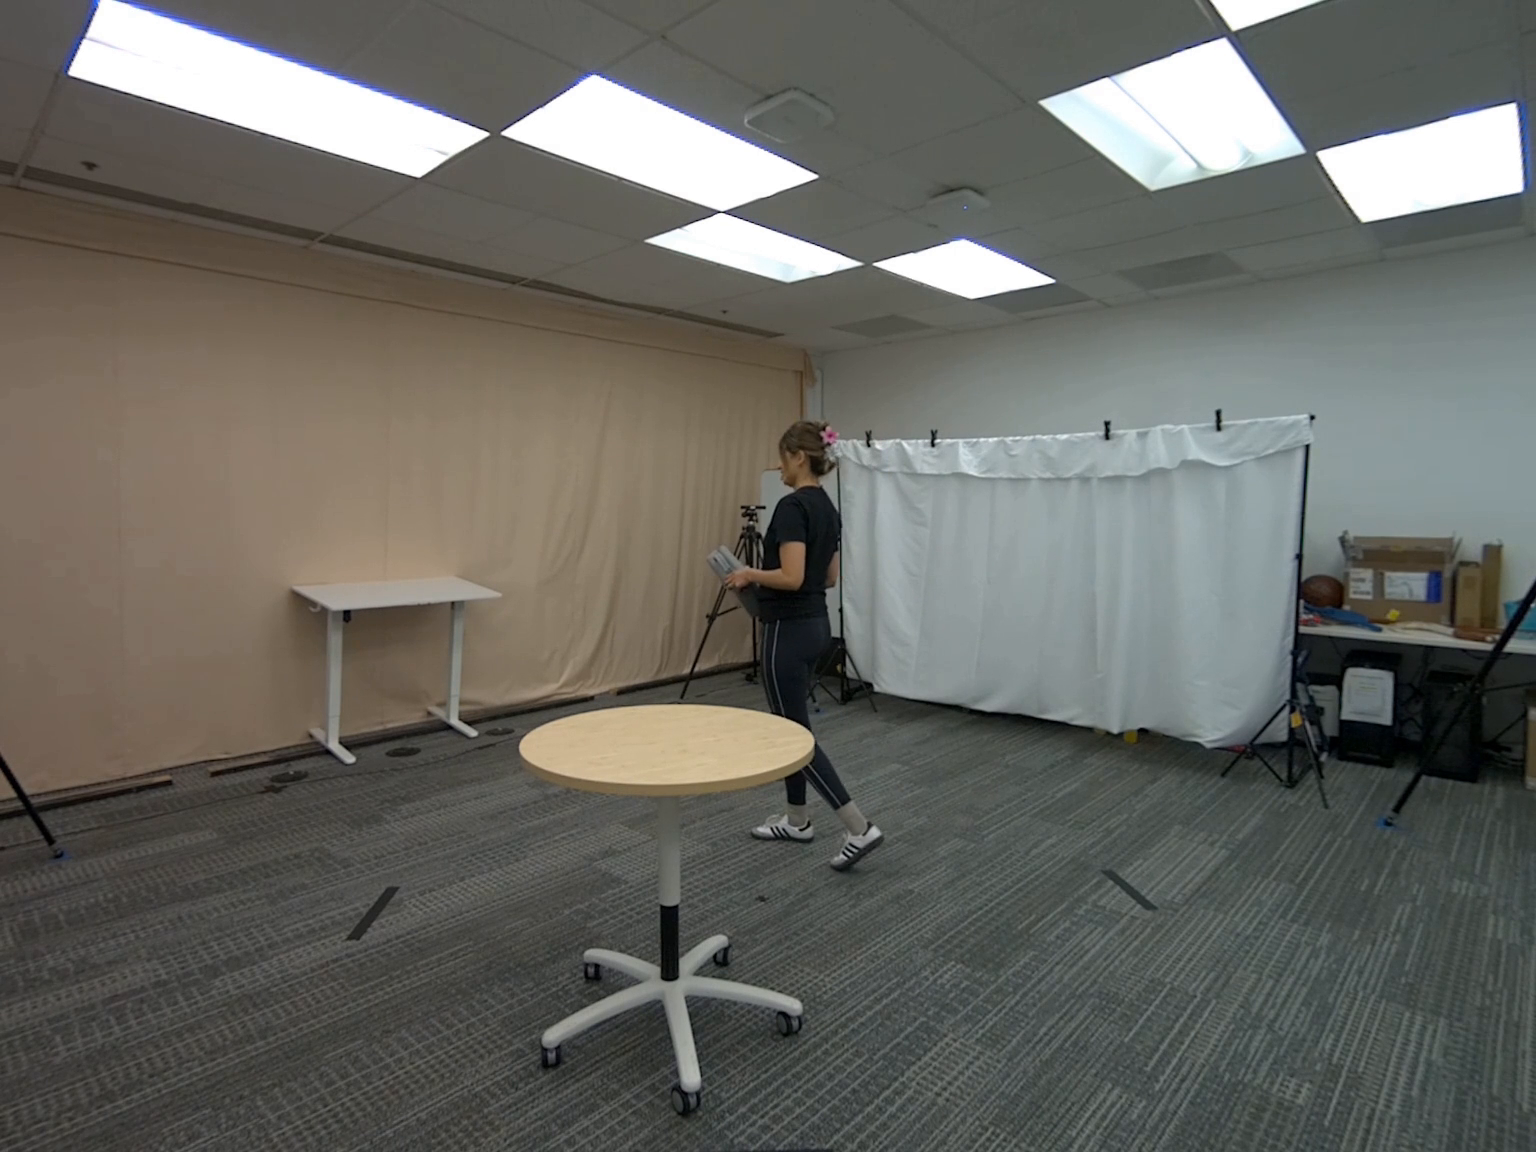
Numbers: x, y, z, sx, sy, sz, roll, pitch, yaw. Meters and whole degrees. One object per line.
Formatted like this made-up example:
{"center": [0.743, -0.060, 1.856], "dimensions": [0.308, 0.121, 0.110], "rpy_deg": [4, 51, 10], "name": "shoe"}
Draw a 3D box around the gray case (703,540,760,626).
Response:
{"center": [-0.119, 0.027, 3.543], "dimensions": [0.104, 0.252, 0.266], "rpy_deg": [-37, 48, -4], "name": "gray case"}
